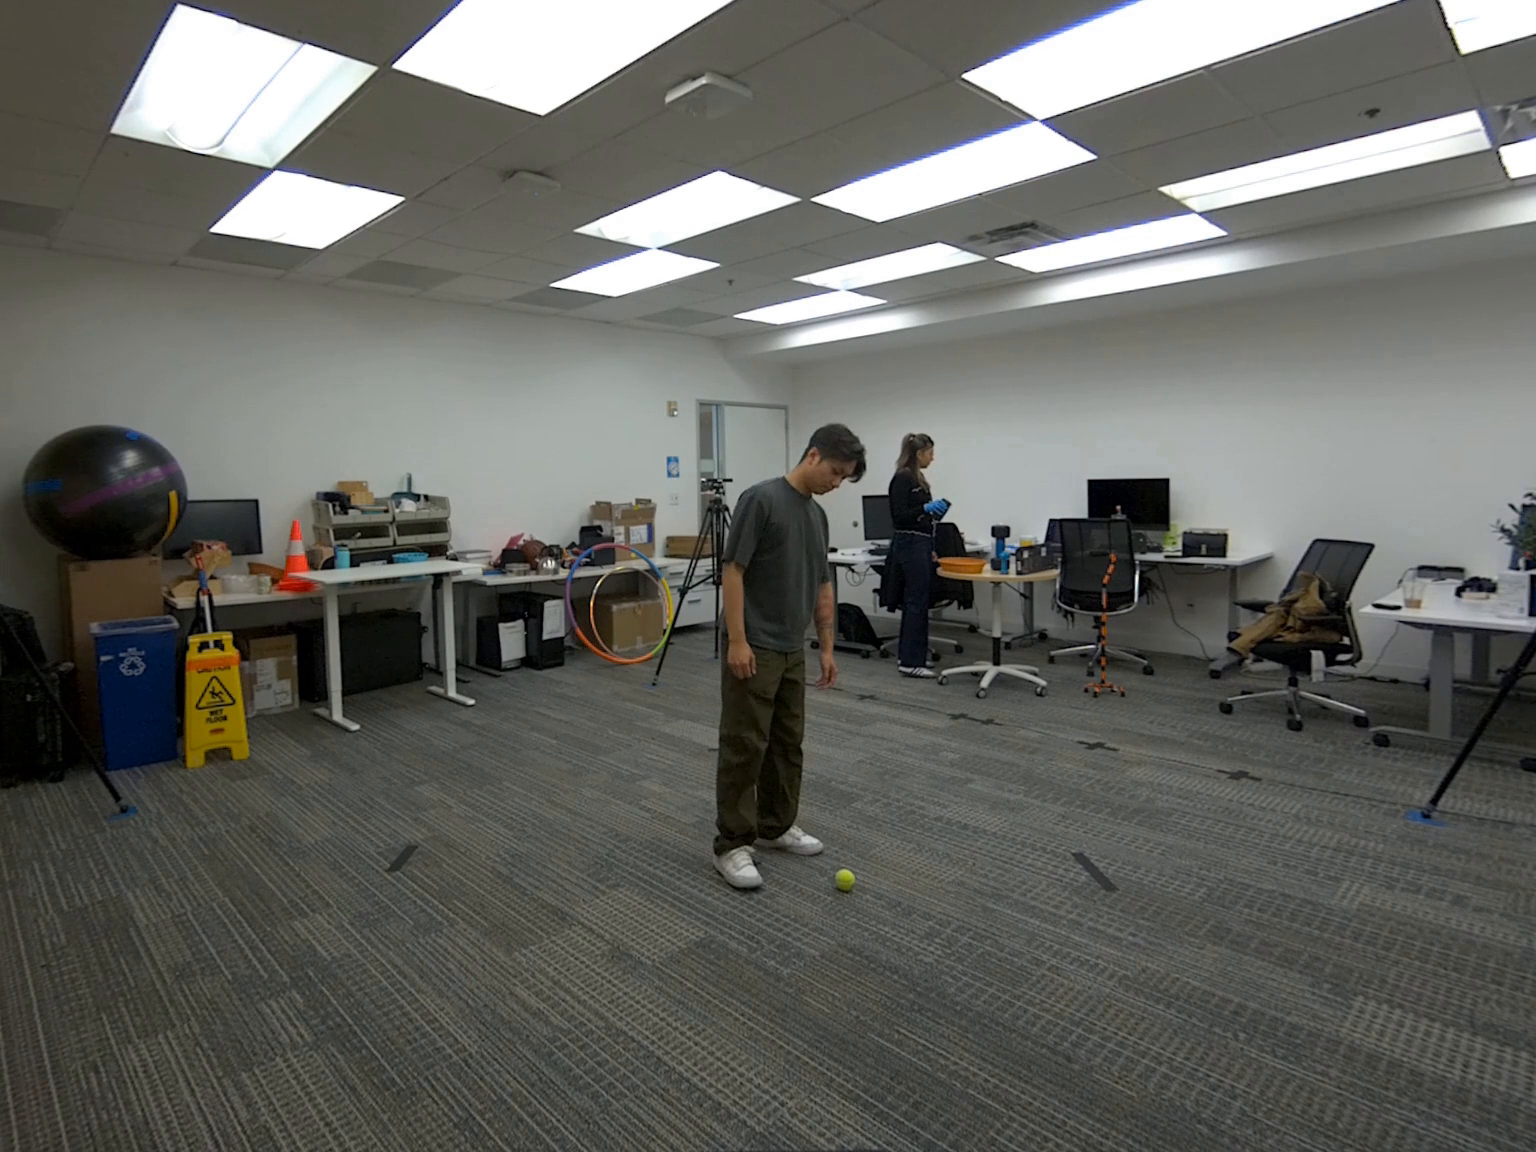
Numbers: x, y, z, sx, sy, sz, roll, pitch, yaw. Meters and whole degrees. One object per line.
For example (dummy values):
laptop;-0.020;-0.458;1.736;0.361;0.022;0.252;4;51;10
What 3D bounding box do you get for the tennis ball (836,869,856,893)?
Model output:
tennis ball;0.266;1.016;2.896;0.066;0.066;0.067;-1;5;-2
